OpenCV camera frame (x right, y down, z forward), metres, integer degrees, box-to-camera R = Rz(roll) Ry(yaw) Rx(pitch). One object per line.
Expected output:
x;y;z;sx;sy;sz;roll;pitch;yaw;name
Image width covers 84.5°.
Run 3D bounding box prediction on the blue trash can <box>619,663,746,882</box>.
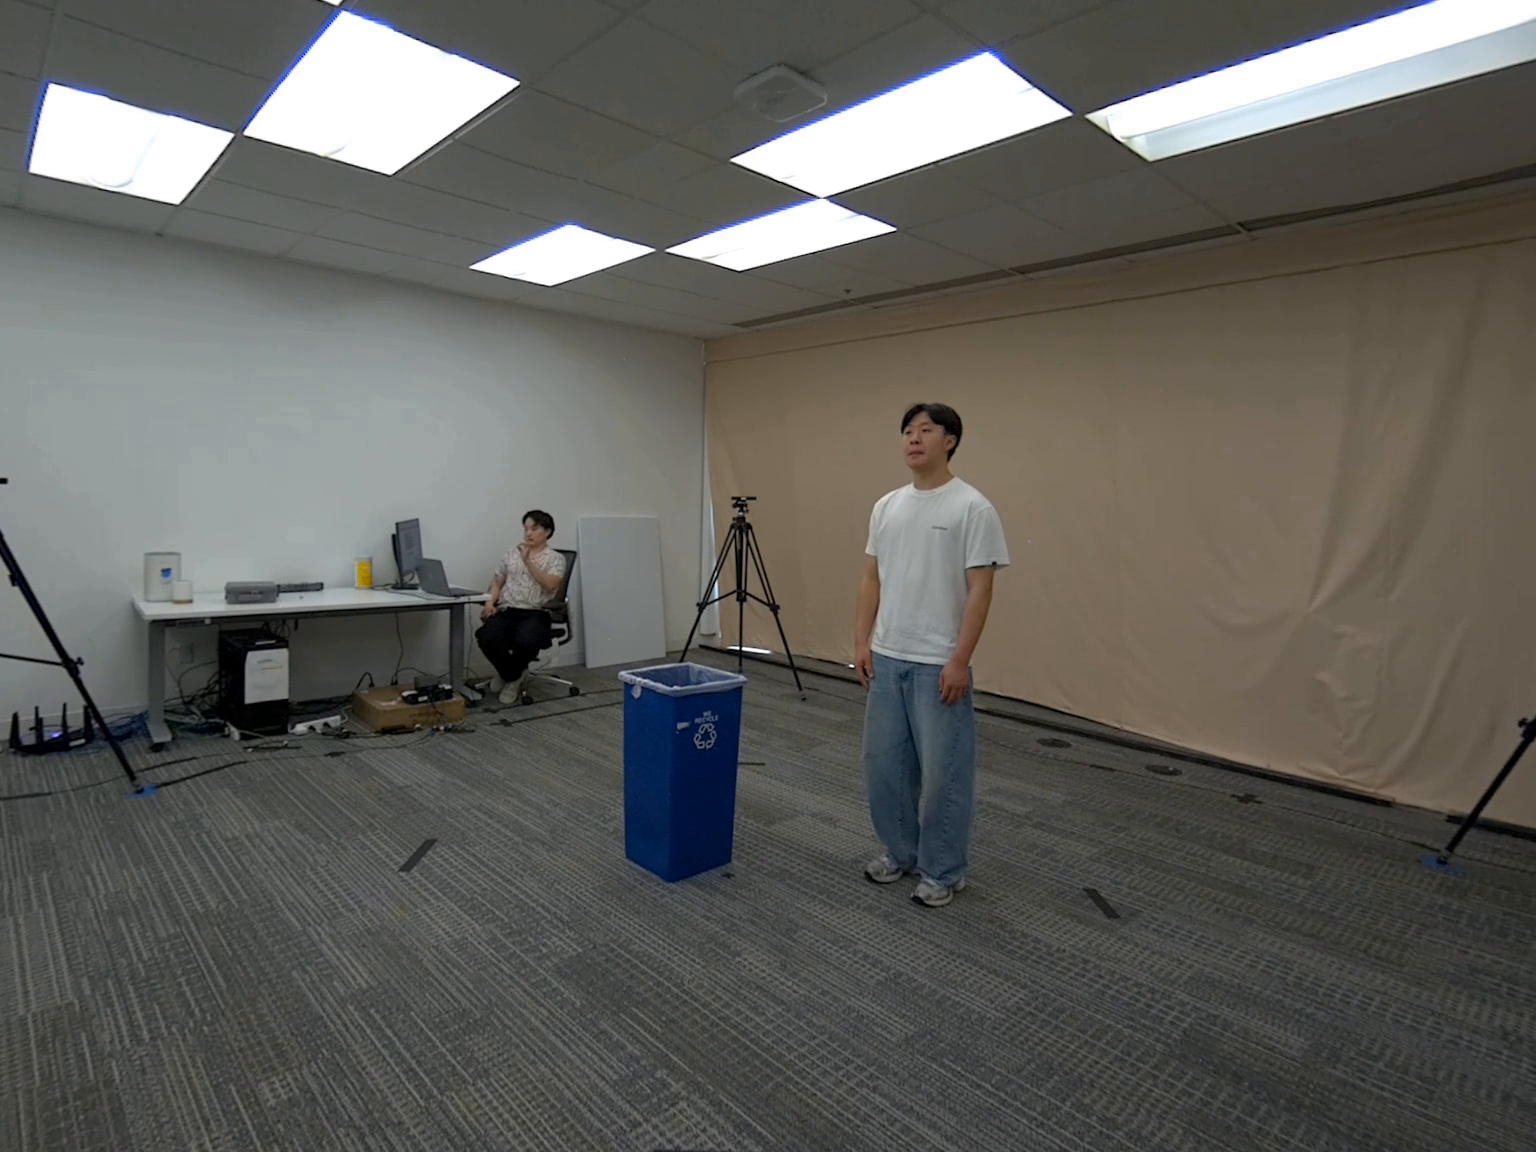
-0.339;0.731;3.230;0.365;0.712;0.388;-2;5;-44;blue trash can
